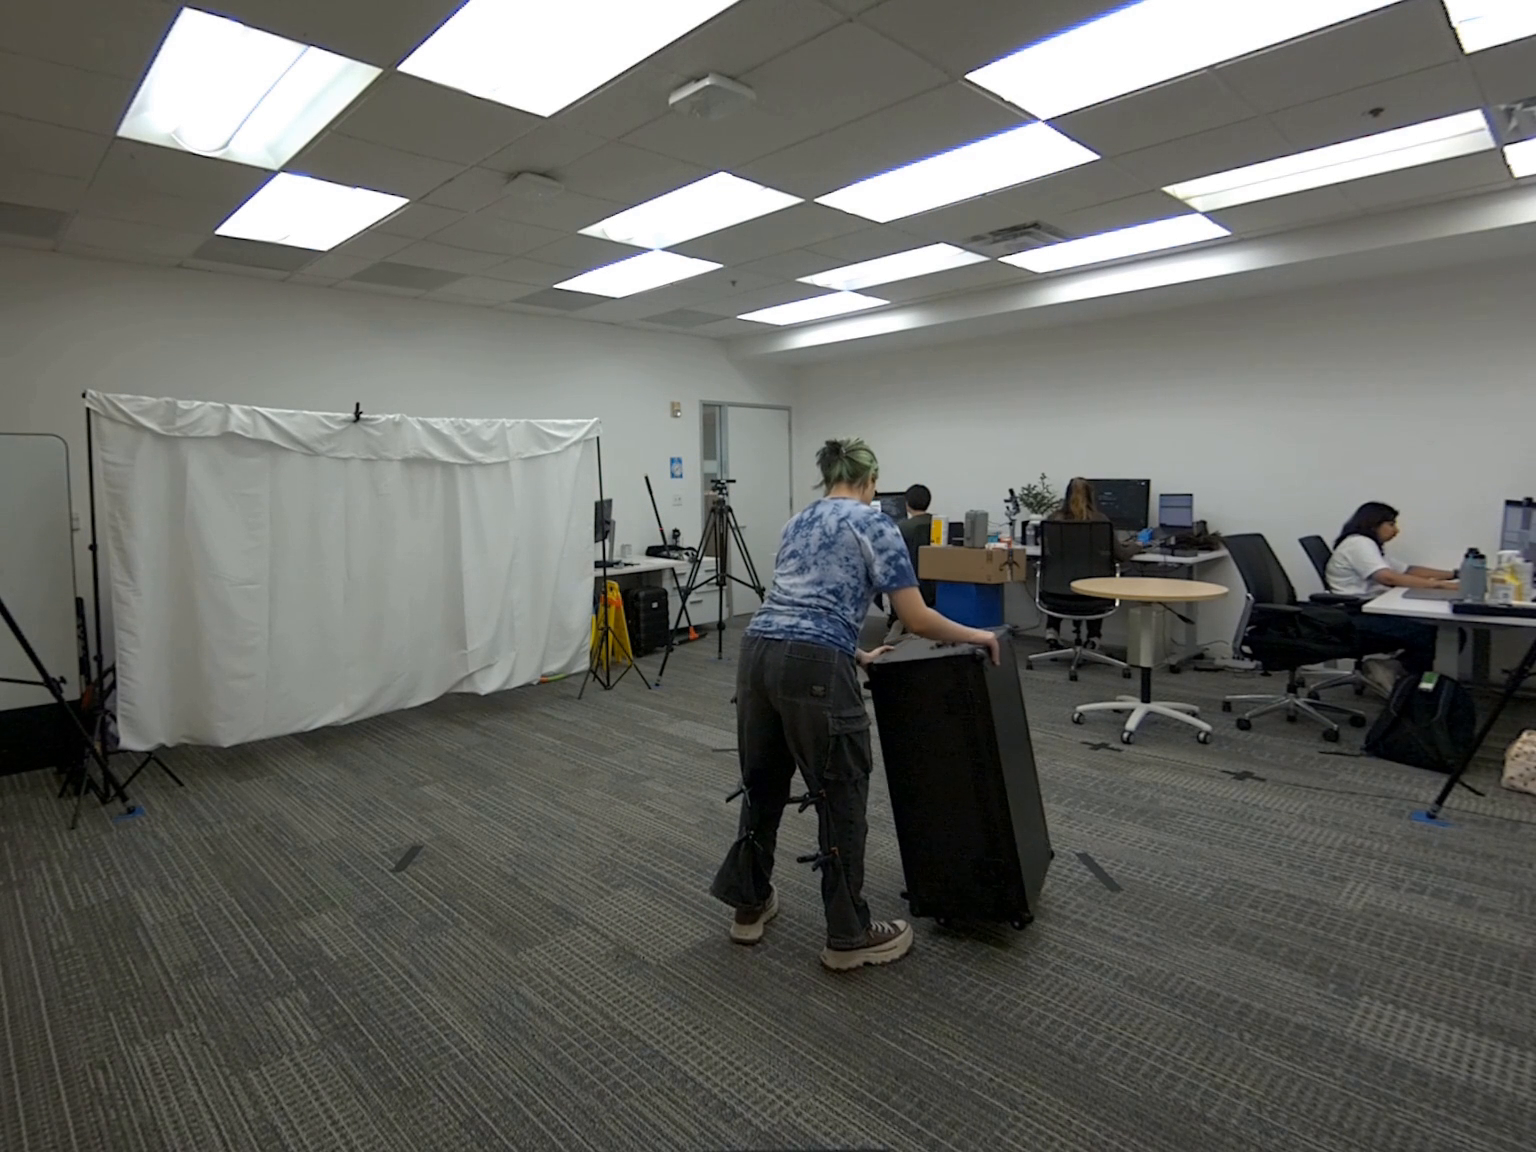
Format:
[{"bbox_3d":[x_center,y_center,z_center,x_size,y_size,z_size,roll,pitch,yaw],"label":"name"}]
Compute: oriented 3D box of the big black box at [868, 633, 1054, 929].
[{"bbox_3d":[0.626,0.642,2.740,0.404,0.862,0.511,-11,-1,26],"label":"big black box"}]
